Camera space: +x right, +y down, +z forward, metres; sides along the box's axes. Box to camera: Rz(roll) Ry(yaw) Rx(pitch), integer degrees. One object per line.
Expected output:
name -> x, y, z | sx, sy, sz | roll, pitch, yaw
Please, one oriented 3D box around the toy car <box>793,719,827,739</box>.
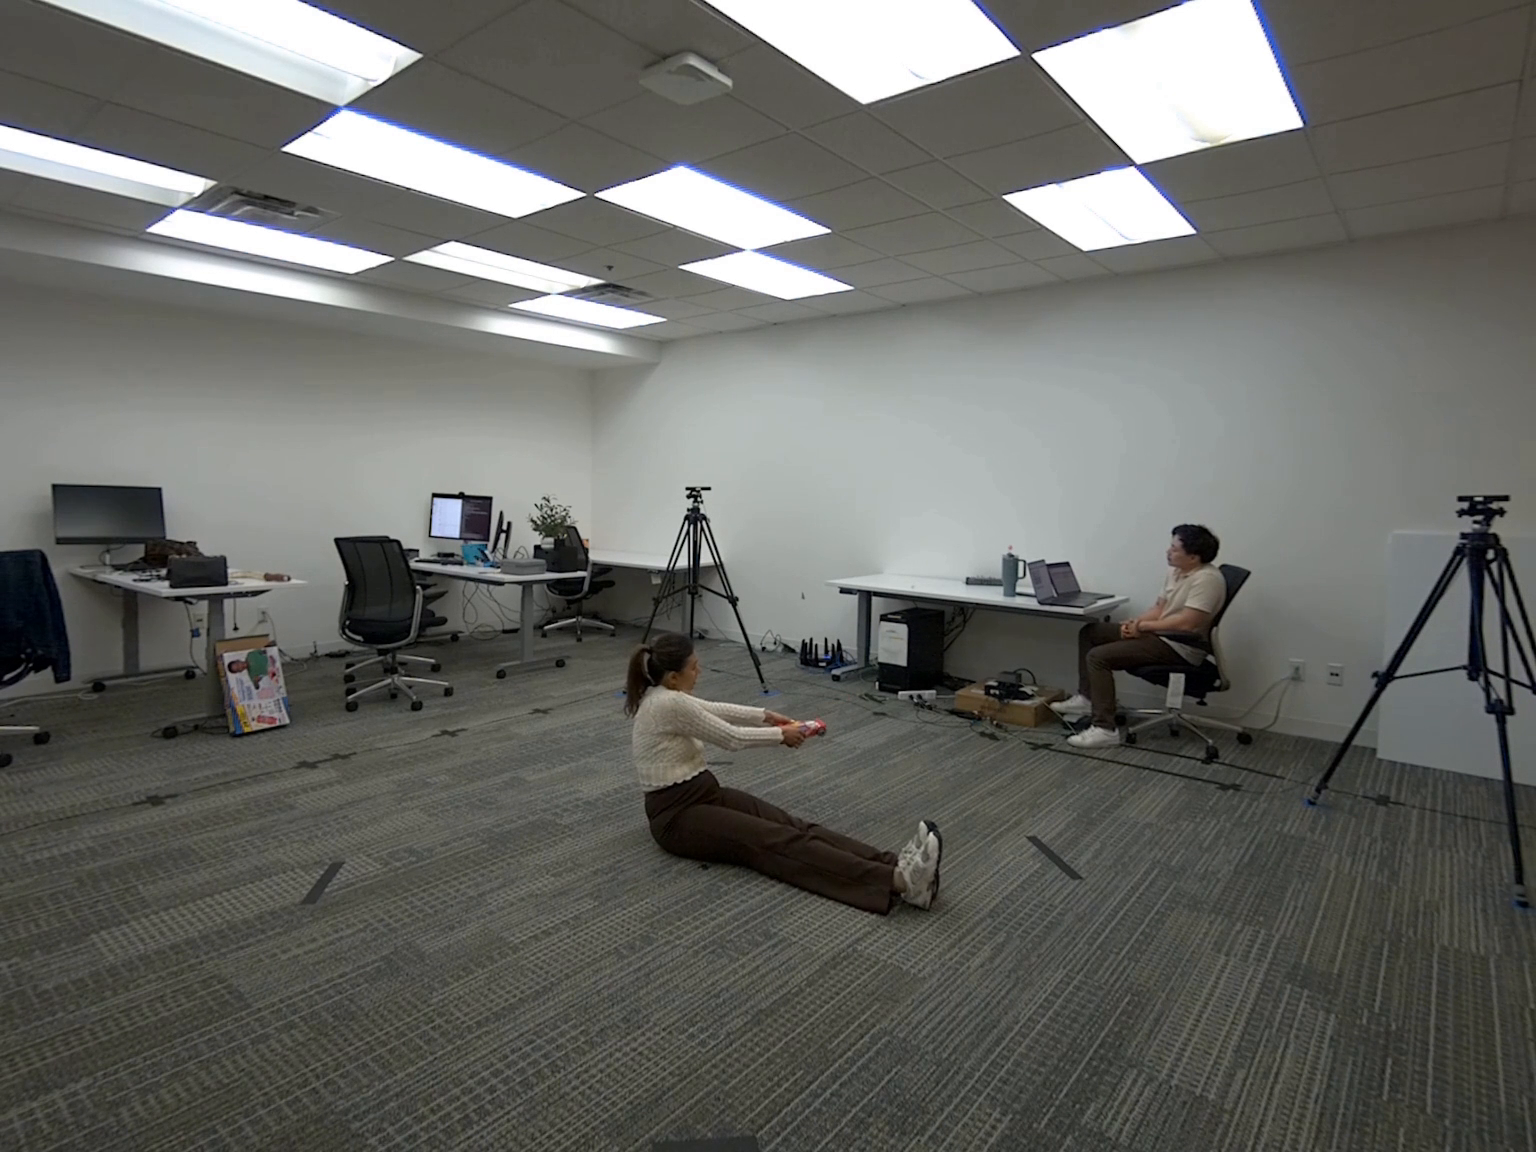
toy car -> 0.112, 0.680, 3.669 | 0.250, 0.083, 0.133 | -4, 7, -20
